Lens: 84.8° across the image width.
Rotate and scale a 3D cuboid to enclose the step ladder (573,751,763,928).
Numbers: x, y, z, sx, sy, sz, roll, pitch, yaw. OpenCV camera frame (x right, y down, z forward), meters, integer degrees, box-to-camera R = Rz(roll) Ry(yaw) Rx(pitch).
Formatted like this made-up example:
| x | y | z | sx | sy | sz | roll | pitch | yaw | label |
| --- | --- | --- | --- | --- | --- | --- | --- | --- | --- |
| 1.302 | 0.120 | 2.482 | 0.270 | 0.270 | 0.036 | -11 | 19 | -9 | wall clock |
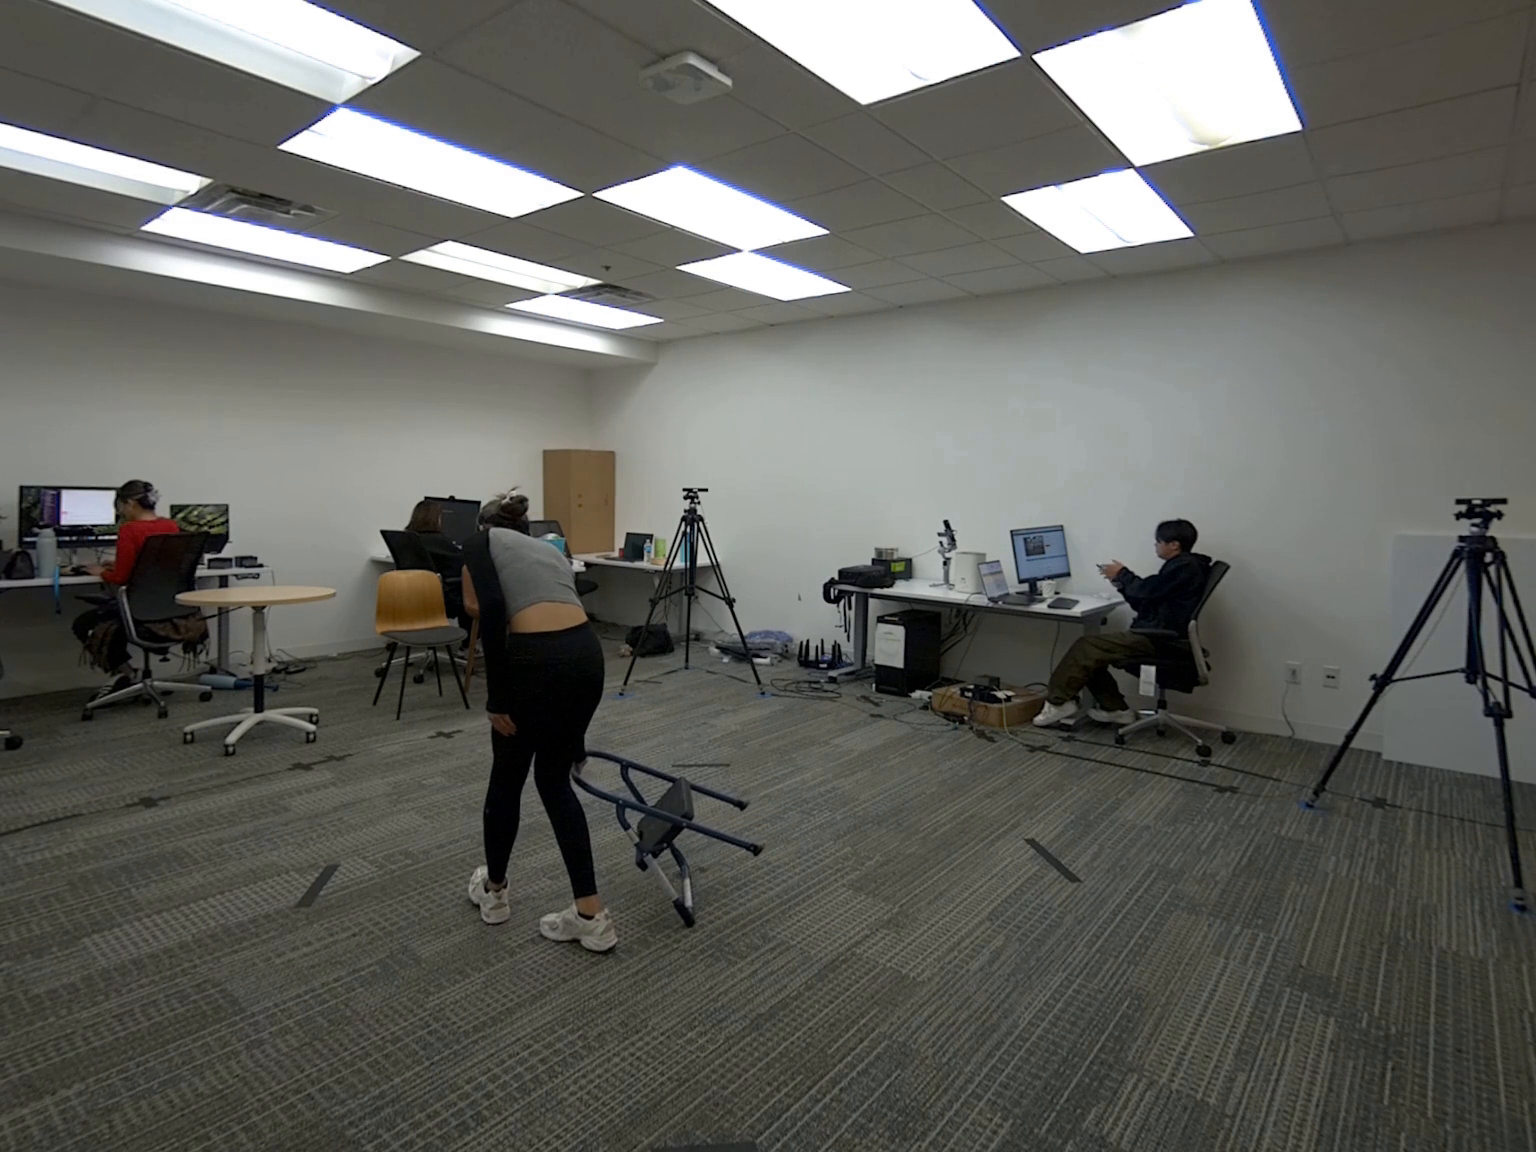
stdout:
| x | y | z | sx | sy | sz | roll | pitch | yaw | label |
| --- | --- | --- | --- | --- | --- | --- | --- | --- | --- |
| -0.385 | 0.770 | 2.865 | 0.601 | 0.349 | 0.434 | 42 | -2 | -7 | step ladder |
